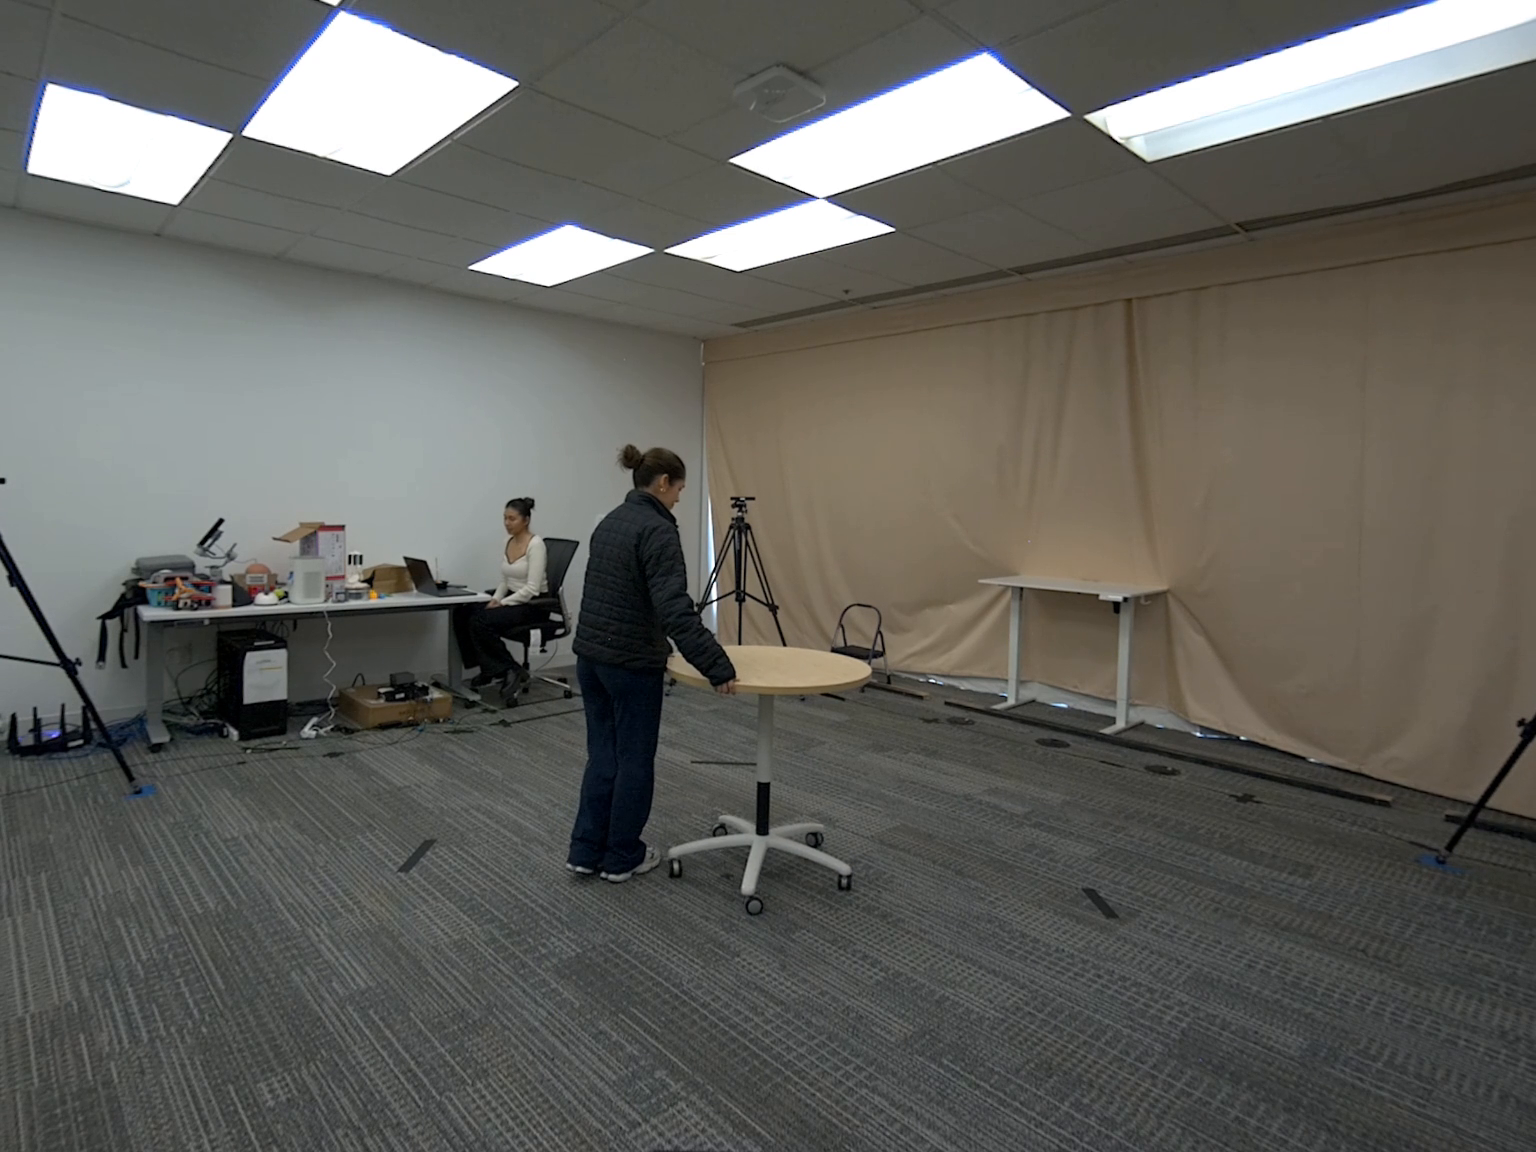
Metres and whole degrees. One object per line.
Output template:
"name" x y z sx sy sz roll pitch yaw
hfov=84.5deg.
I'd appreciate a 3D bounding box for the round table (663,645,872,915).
"round table" -0.006 0.716 3.108 0.784 0.784 0.788 1 4 -1
